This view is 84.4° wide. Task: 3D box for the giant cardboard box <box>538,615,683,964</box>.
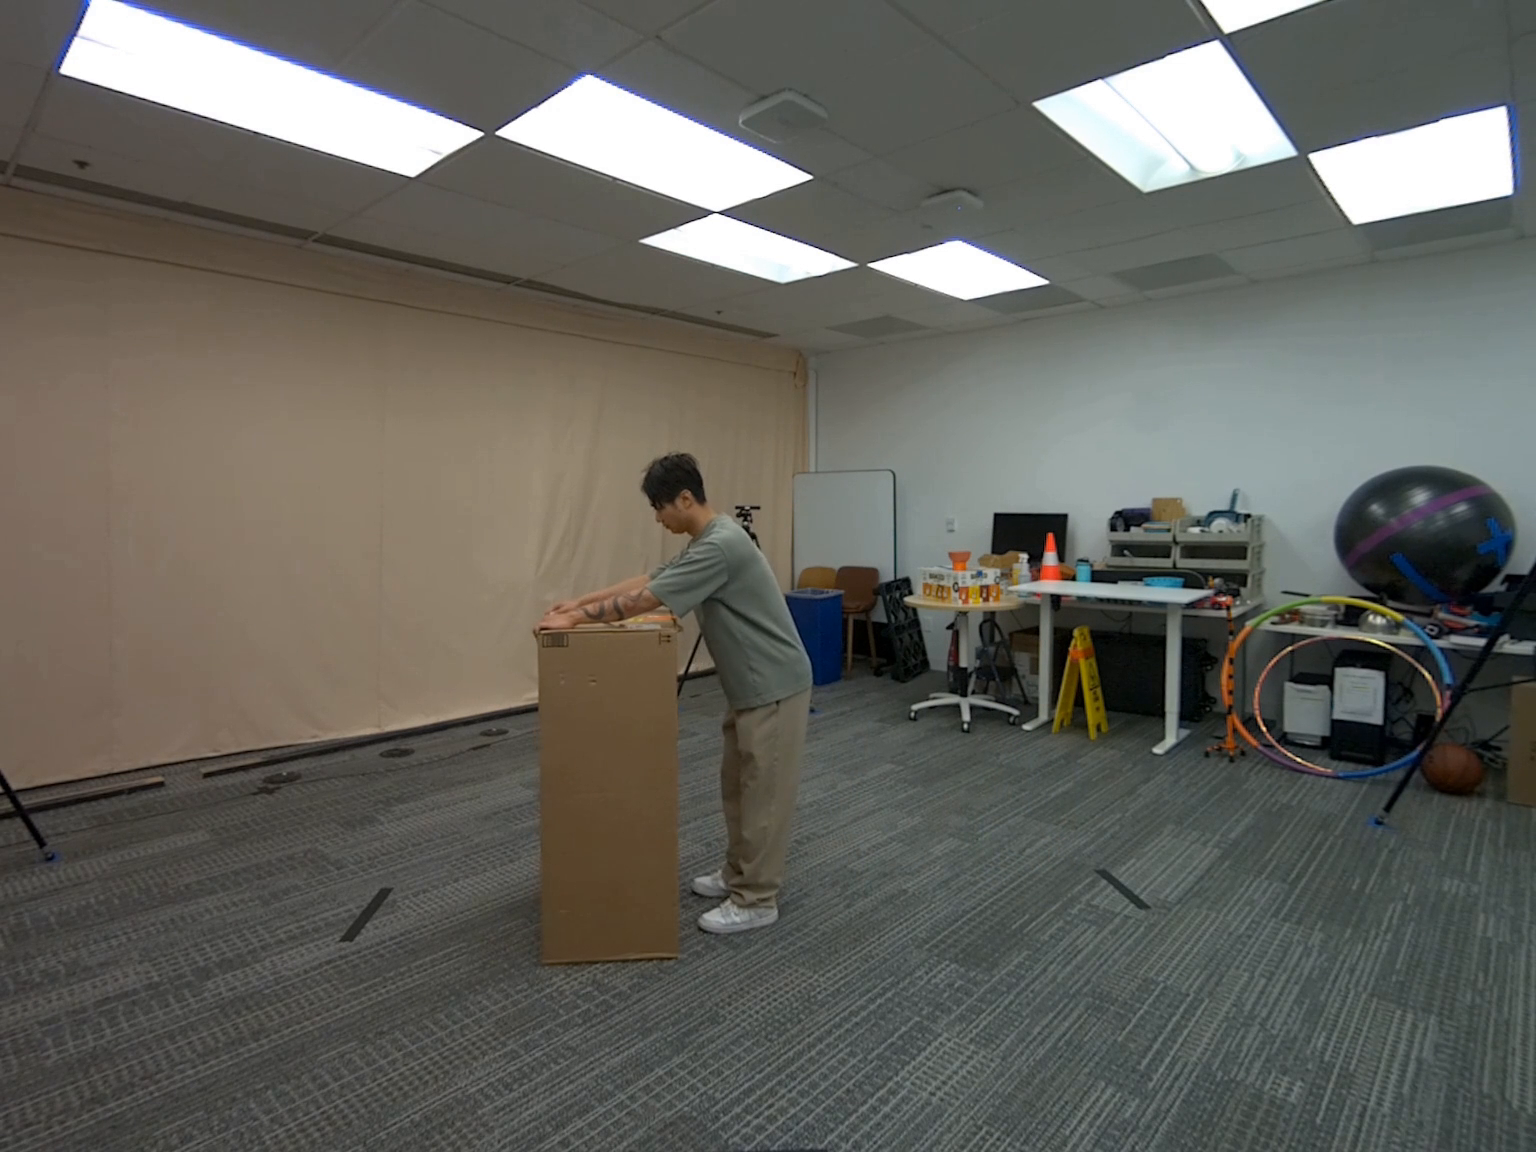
[{"bbox_3d":[-0.526,0.650,2.834,0.423,1.024,0.583,-1,3,-9],"label":"giant cardboard box"}]
